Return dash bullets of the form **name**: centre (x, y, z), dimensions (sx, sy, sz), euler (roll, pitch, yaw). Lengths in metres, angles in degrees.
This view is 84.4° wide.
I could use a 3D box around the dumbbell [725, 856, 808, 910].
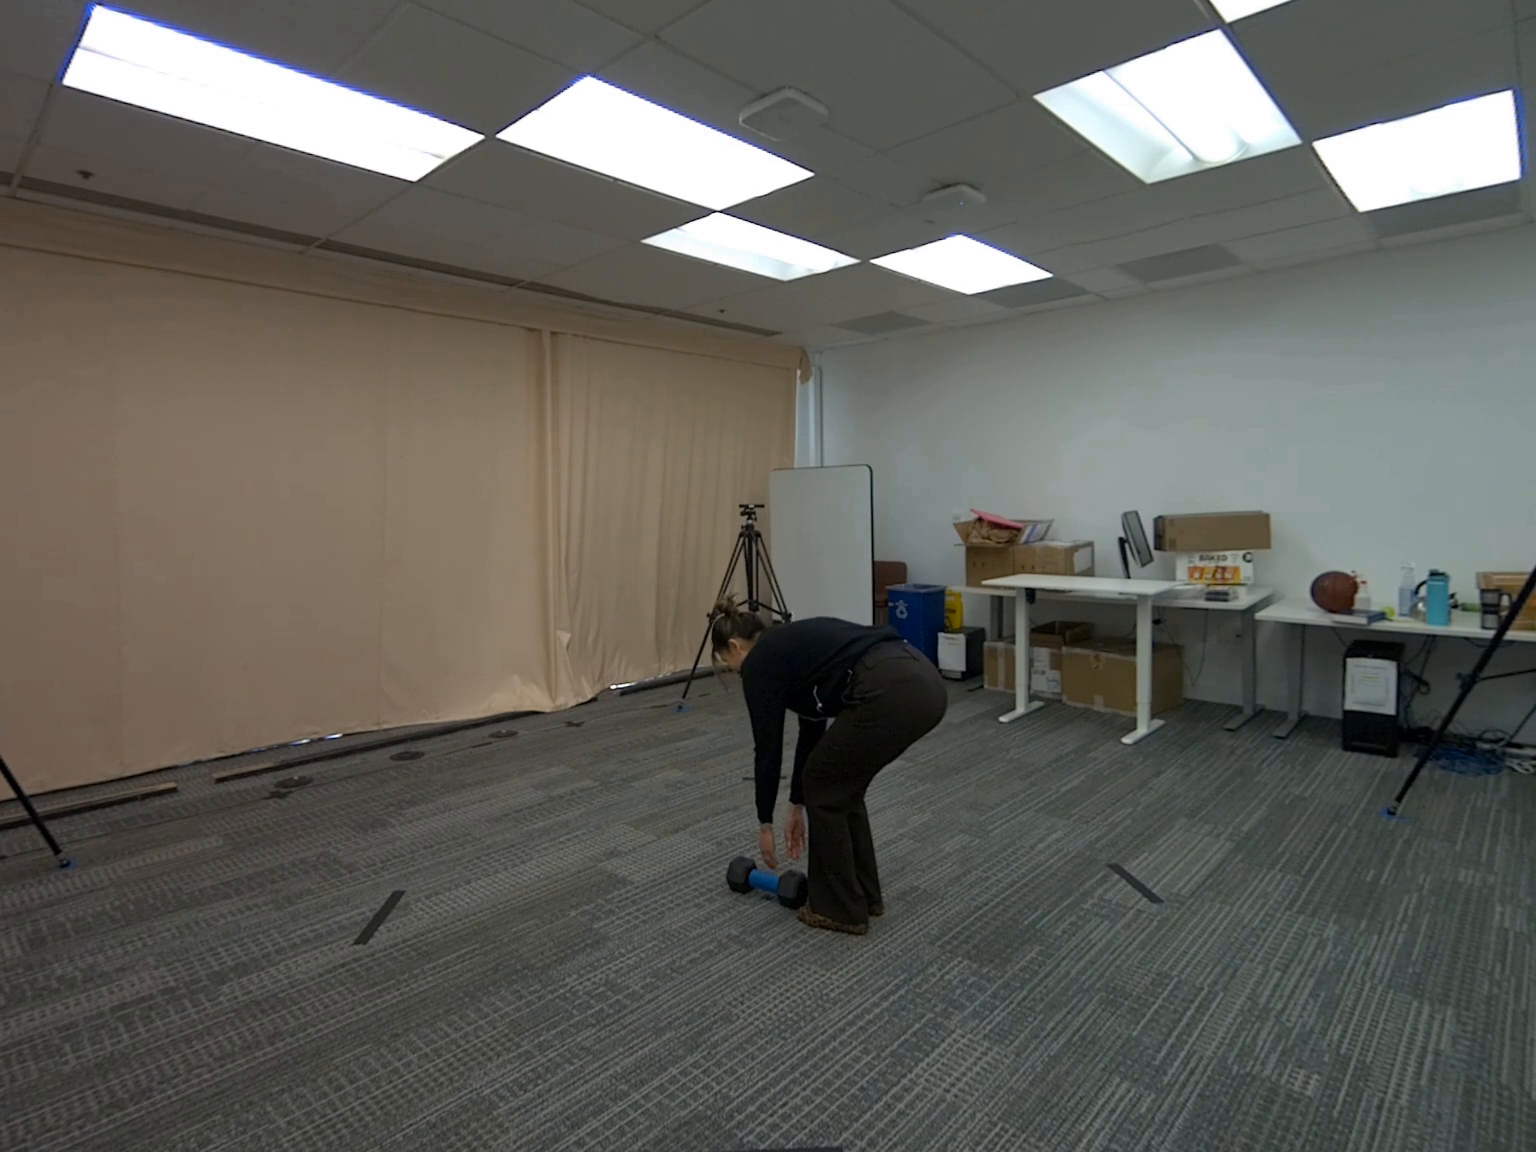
- **dumbbell**: centre (-0.002, 1.088, 2.985), dimensions (0.303, 0.120, 0.108), euler (3, 34, 34)
